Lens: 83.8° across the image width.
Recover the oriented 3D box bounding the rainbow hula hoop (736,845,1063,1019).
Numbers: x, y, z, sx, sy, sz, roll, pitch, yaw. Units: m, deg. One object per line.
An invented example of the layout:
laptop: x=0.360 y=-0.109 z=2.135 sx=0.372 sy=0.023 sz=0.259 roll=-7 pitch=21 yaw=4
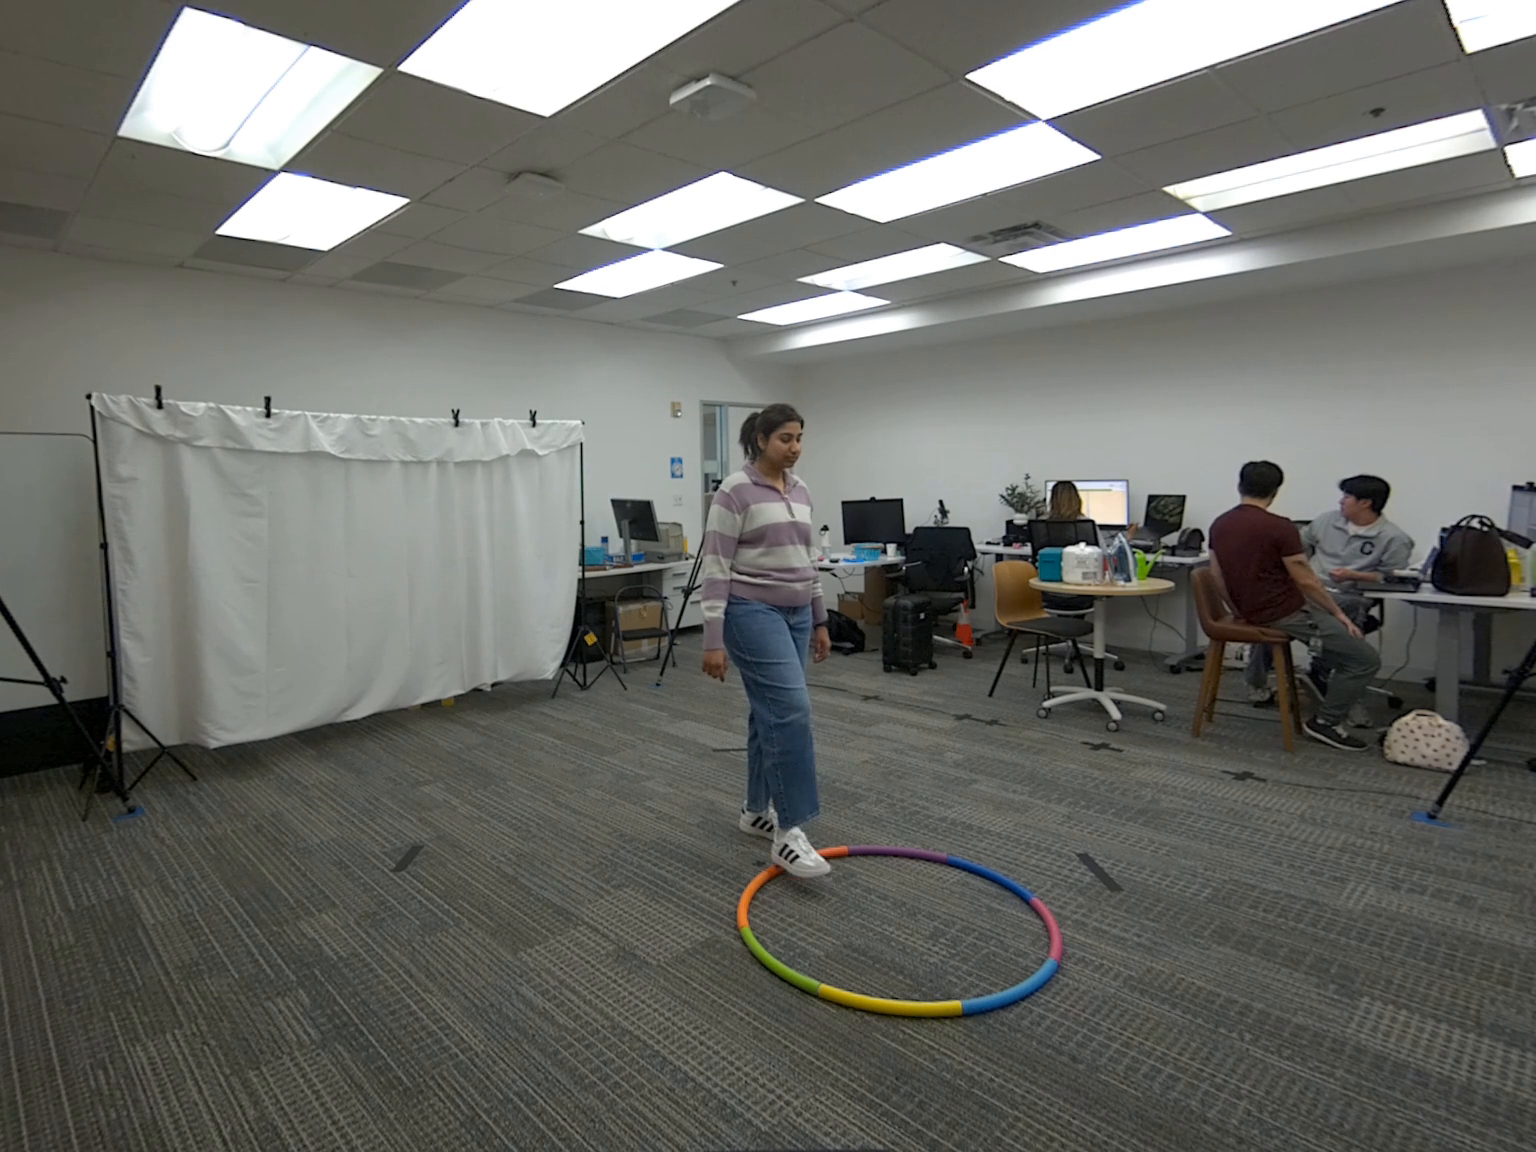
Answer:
rainbow hula hoop: x=0.397 y=1.060 z=2.687 sx=0.978 sy=0.035 sz=0.984 roll=-2 pitch=7 yaw=-2
